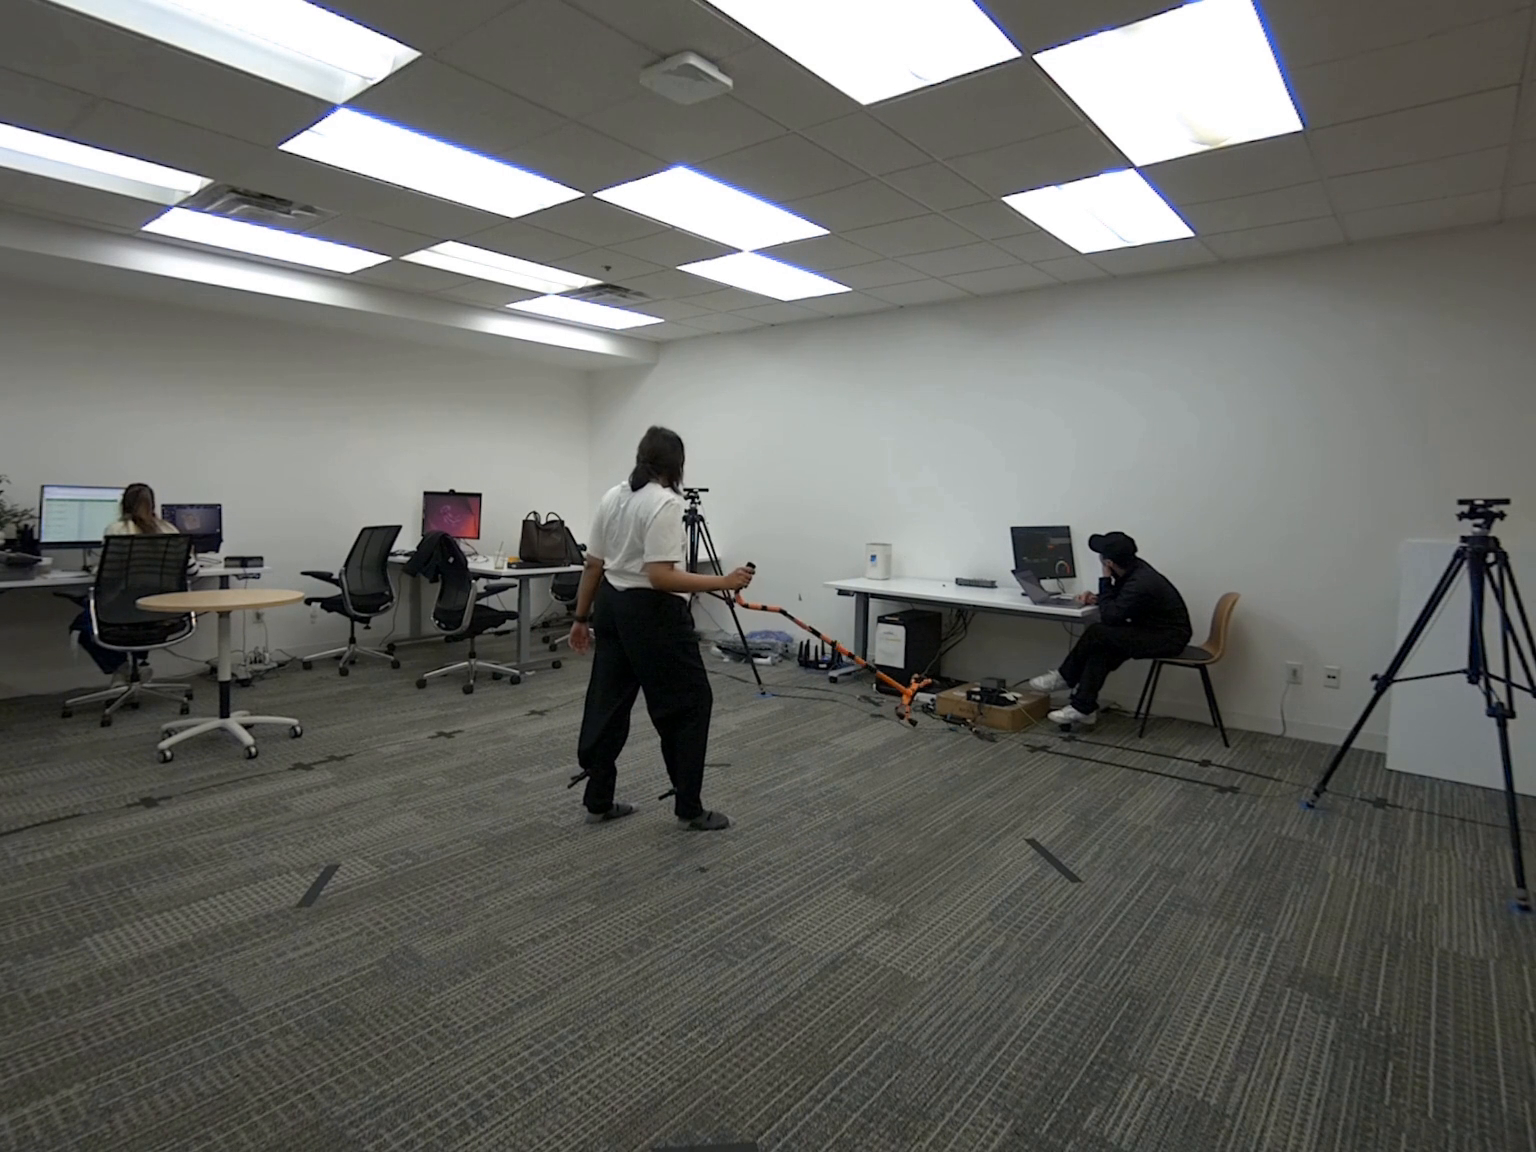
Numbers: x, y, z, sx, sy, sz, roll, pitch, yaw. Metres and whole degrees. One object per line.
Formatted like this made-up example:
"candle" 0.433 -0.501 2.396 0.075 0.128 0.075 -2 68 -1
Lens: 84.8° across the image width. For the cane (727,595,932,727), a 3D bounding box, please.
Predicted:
"cane" 0.228 0.283 3.366 0.894 0.207 0.154 34 -6 -11
